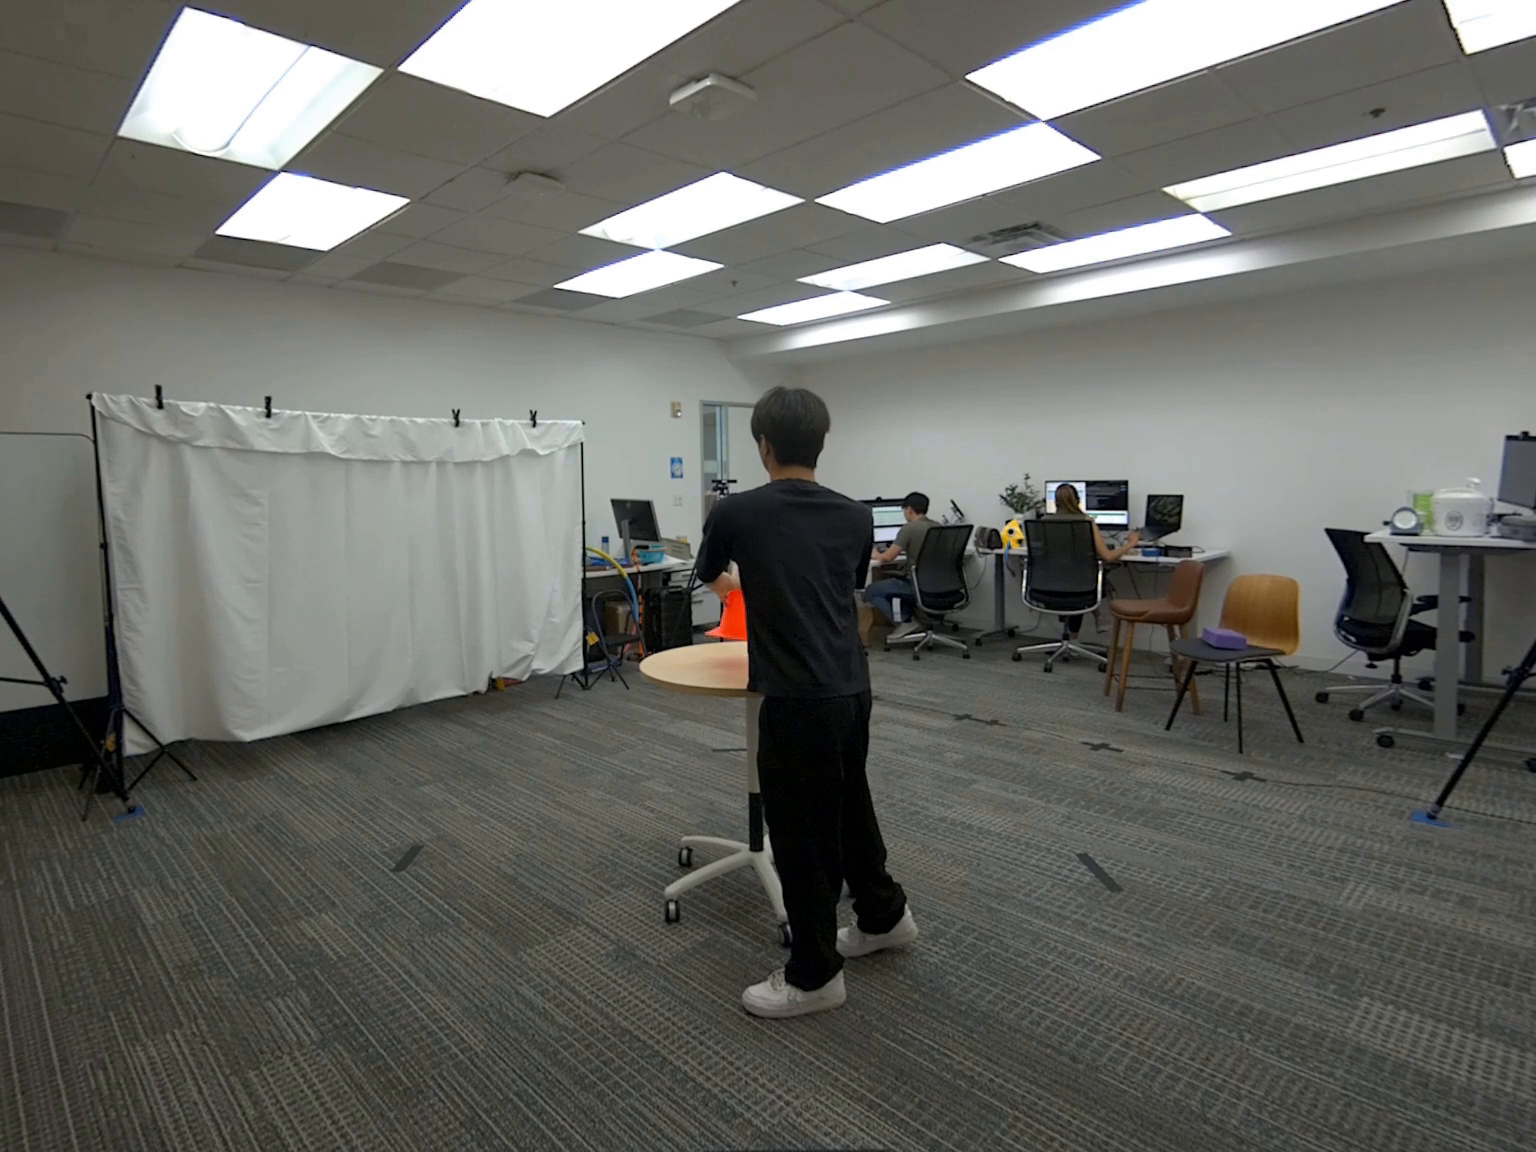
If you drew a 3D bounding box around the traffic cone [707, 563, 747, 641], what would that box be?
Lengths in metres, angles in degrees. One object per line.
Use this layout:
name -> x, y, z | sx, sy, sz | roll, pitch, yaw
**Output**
traffic cone -> -0.070, -0.001, 2.817 | 0.211, 0.383, 0.198 | 5, 3, 37
